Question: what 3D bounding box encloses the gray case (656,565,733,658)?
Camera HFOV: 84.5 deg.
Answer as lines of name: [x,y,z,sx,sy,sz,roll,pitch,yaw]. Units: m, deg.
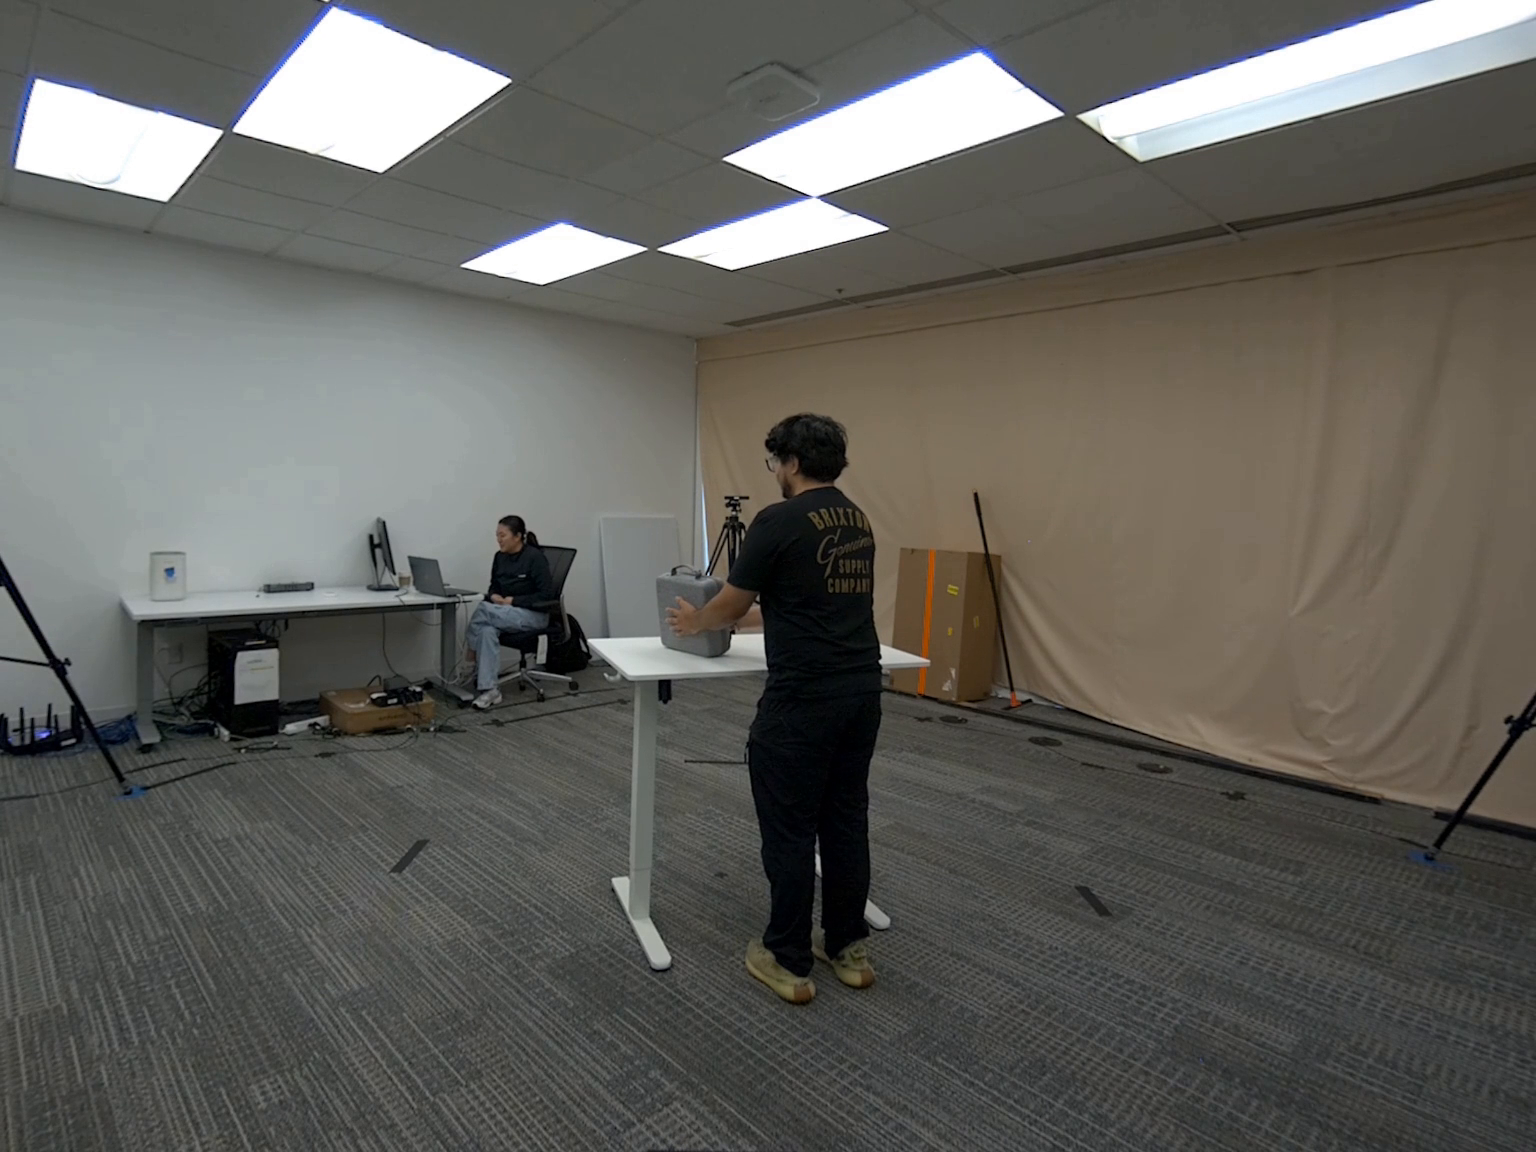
gray case: [-0.253,0.121,2.733,0.264,0.258,0.102,8,18,44]
